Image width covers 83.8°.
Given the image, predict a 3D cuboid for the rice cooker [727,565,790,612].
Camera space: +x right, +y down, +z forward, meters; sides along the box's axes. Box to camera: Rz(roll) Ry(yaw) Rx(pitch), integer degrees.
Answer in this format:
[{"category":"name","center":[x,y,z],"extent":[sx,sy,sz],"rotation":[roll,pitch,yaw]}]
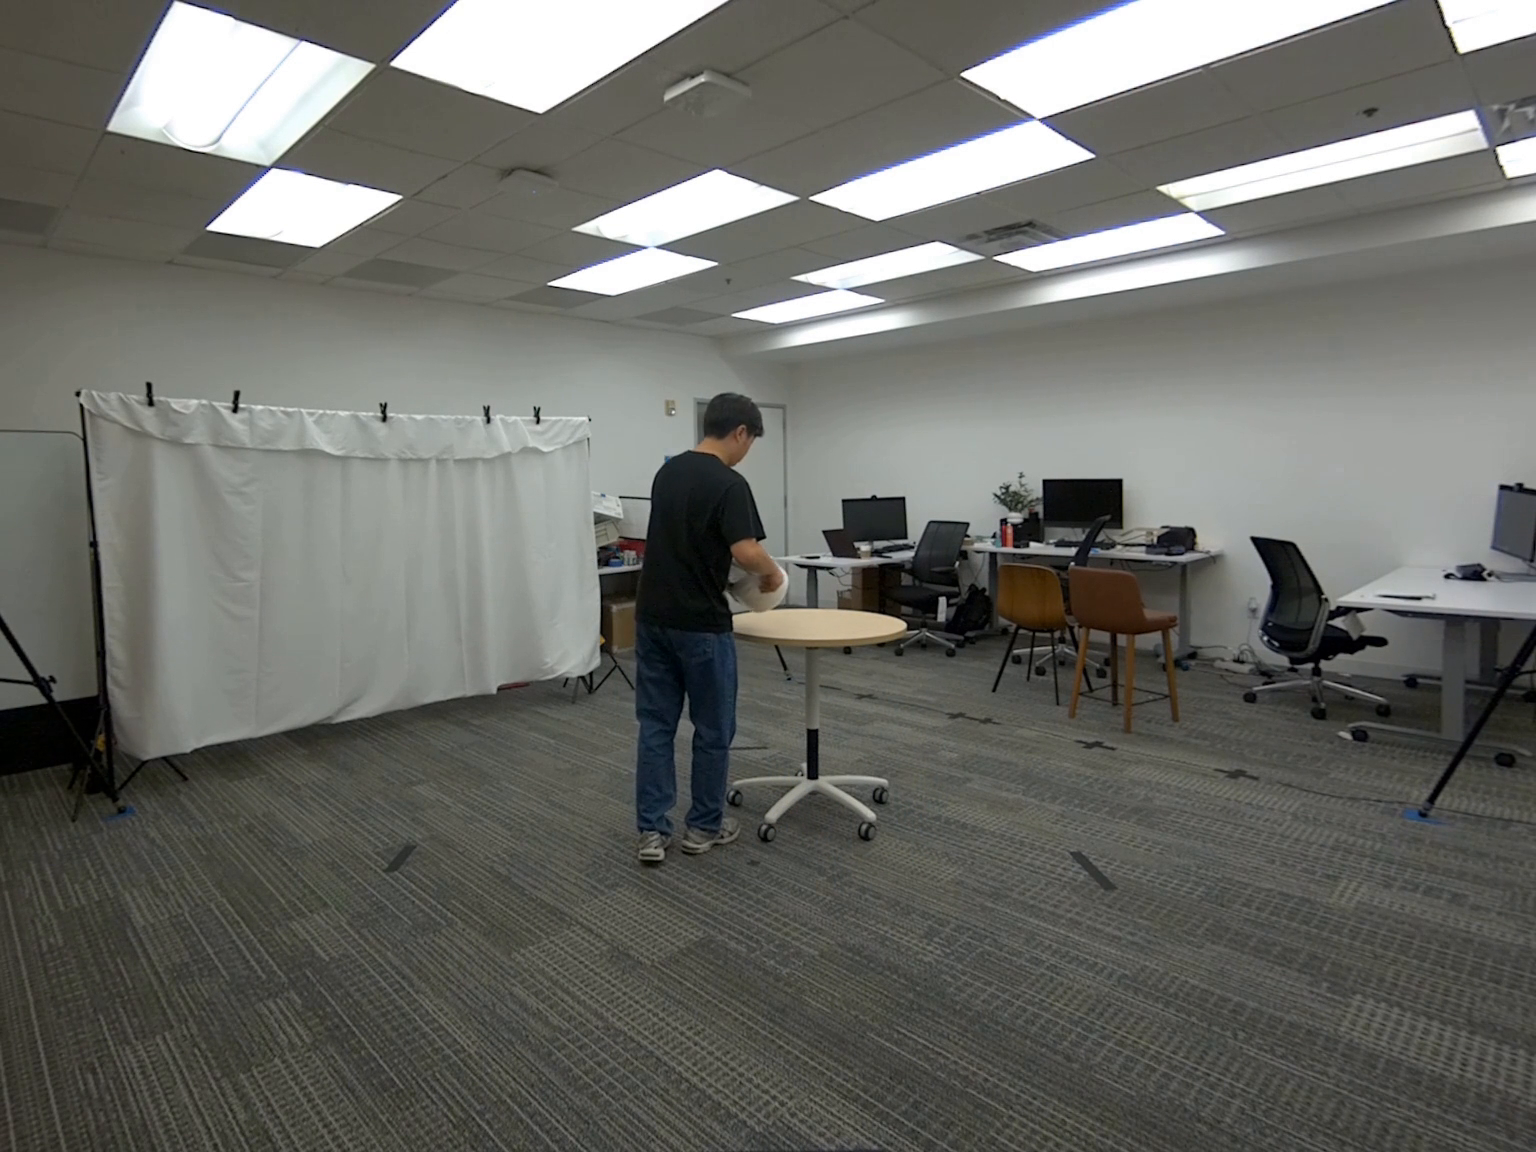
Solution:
[{"category":"rice cooker","center":[-0.055,0.008,3.365],"extent":[0.224,0.217,0.229],"rotation":[43,-9,-37]}]
